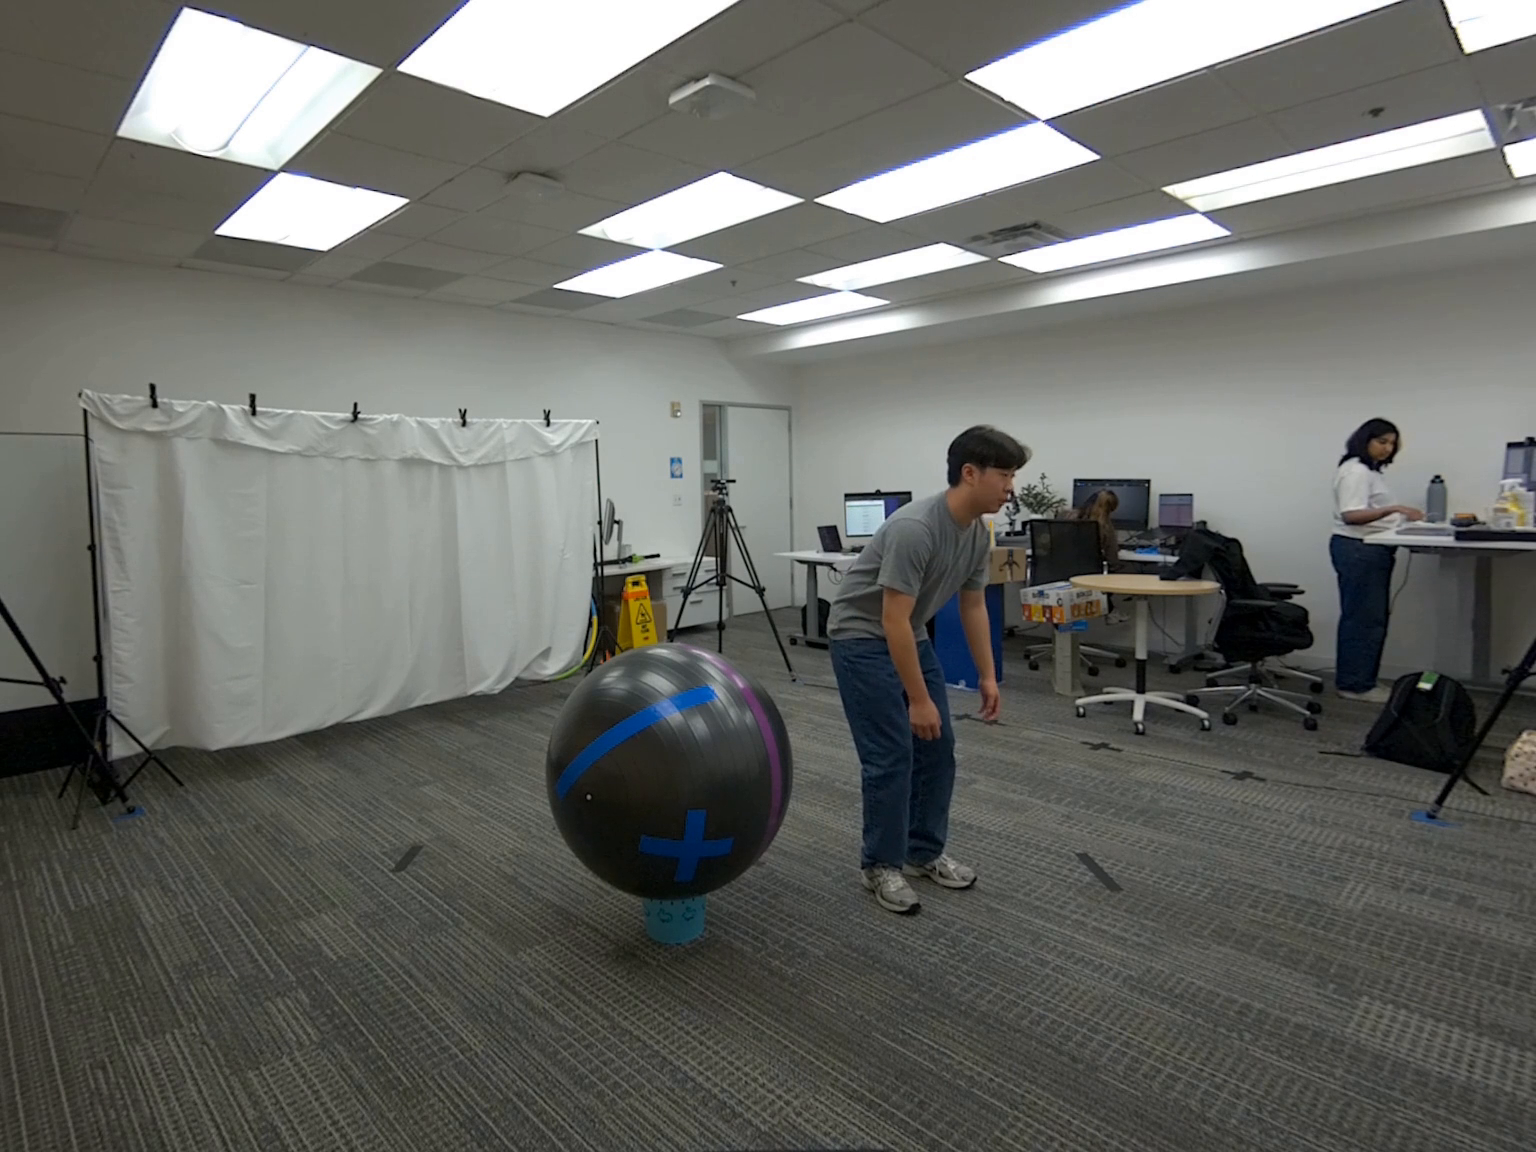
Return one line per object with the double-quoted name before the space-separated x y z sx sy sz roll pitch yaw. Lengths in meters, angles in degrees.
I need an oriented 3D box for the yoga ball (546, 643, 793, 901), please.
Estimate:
"yoga ball" -0.304 0.592 2.643 0.757 0.755 0.762 -1 5 -2
